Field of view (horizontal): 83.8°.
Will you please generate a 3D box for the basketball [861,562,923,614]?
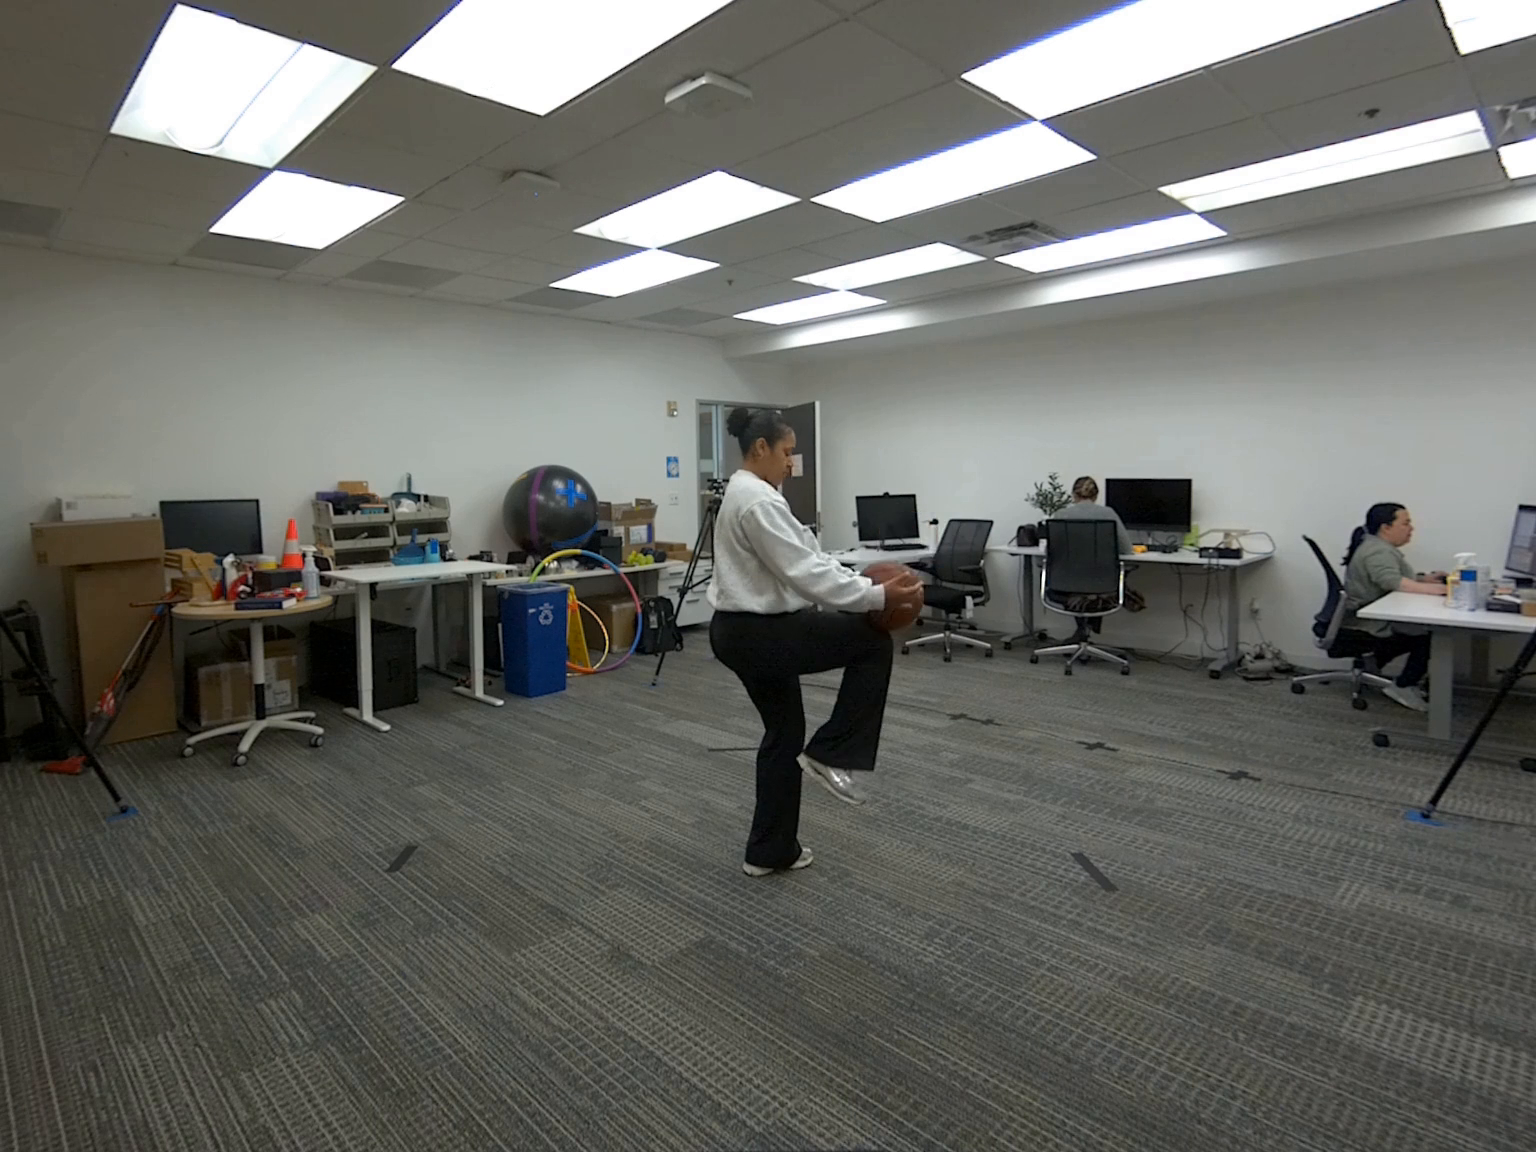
[{"bbox_3d":[0.445,-0.036,2.876,0.236,0.235,0.237,-1,5,-2],"label":"basketball"}]
